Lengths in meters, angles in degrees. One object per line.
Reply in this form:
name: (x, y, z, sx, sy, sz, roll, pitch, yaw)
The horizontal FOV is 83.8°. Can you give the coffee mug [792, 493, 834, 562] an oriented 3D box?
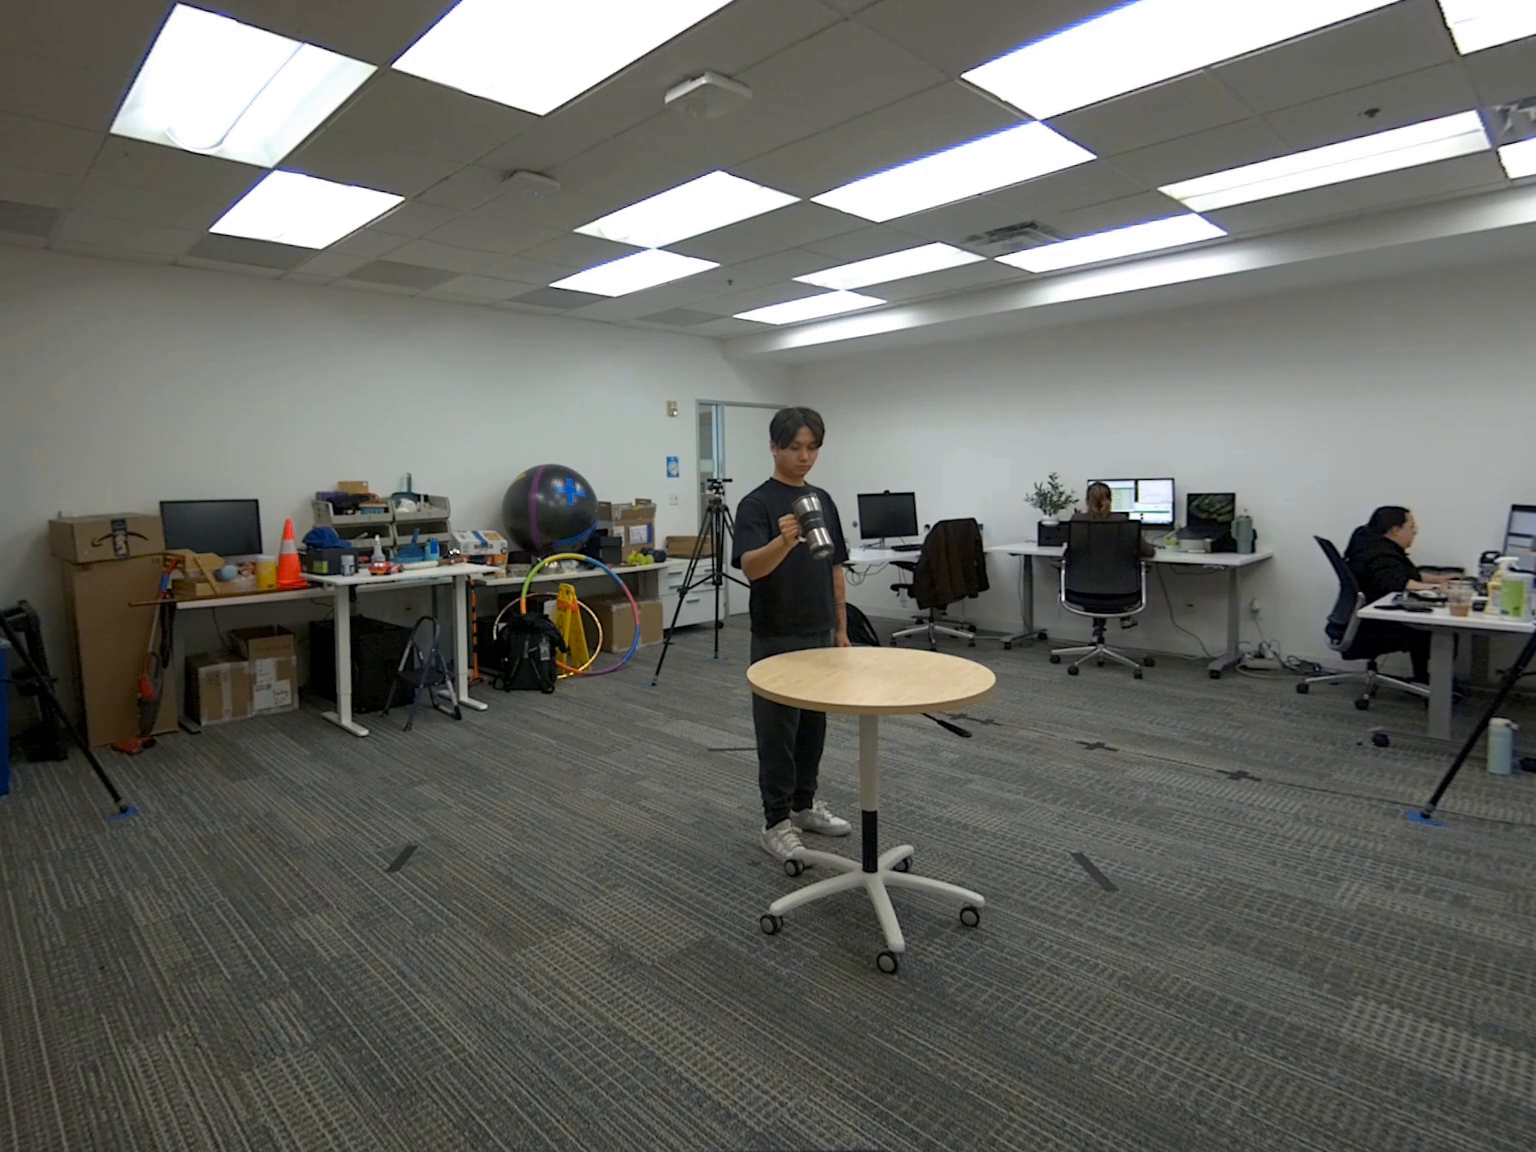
coffee mug: (0.136, -0.146, 2.659, 0.087, 0.208, 0.120, -11, -26, -16)
